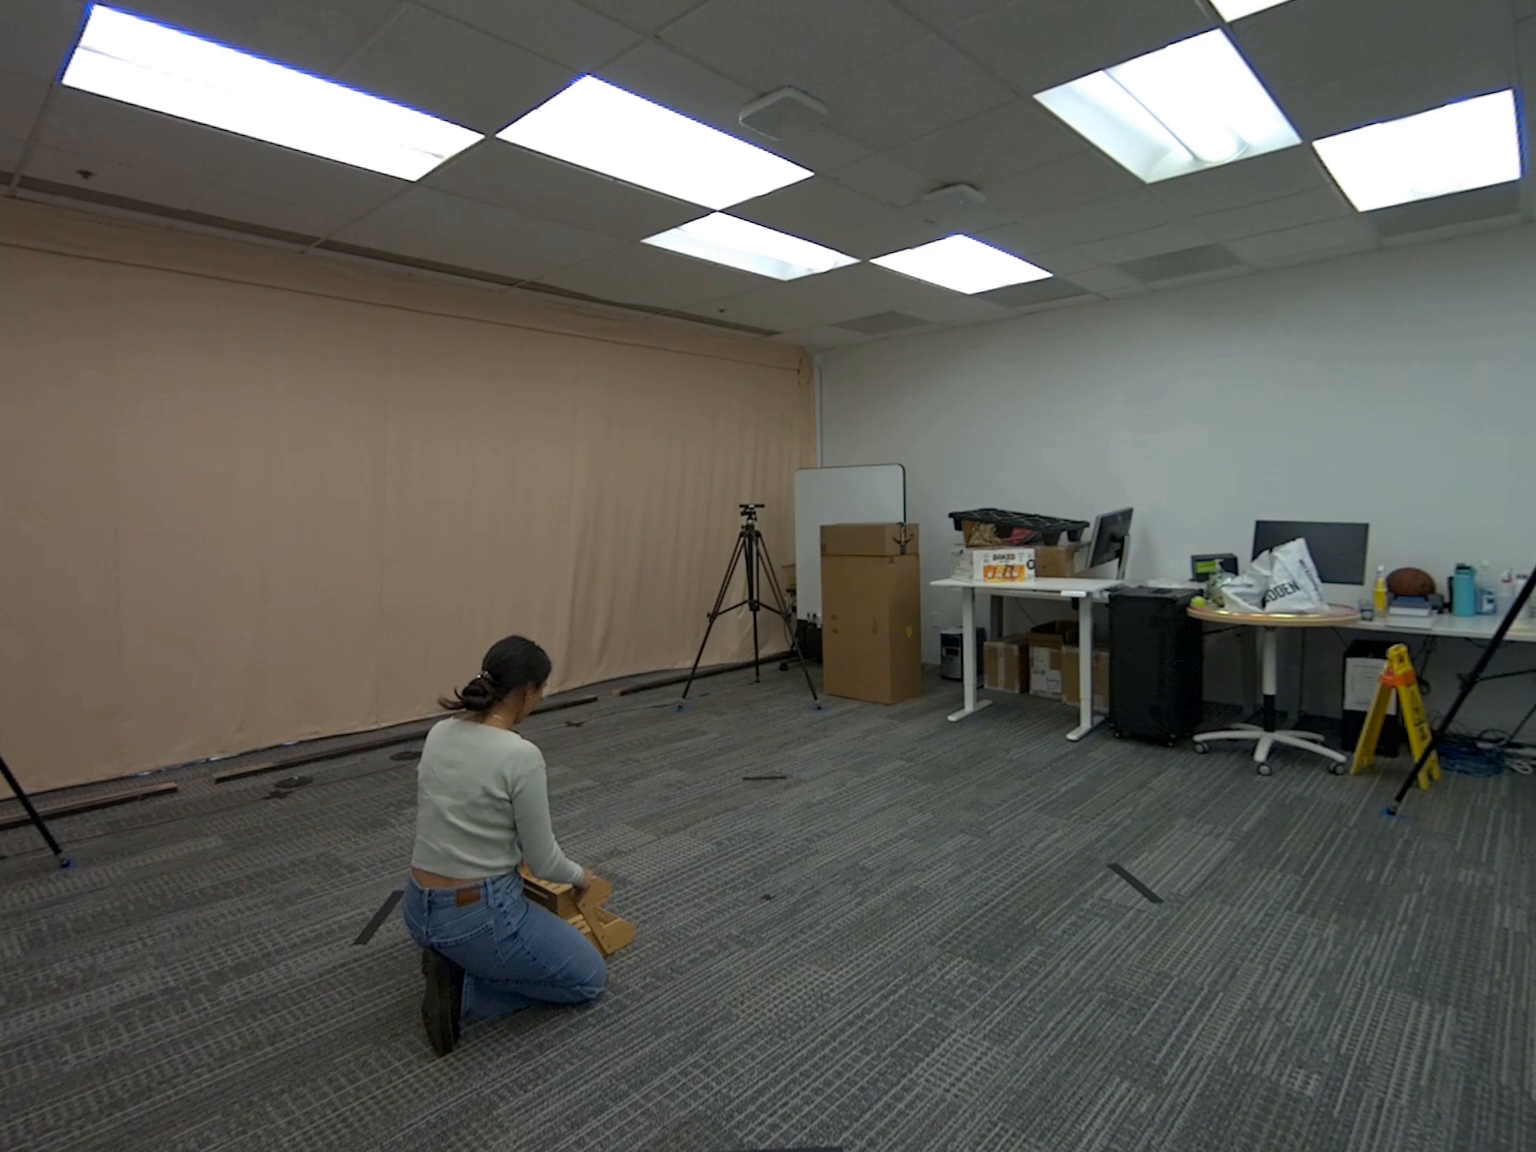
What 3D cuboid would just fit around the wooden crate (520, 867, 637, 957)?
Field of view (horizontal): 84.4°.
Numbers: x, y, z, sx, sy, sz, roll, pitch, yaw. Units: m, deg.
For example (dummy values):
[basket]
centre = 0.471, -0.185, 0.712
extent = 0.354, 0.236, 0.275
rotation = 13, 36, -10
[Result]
[wooden crate]
centre = -0.634, 1.042, 2.699
extent = 0.335, 0.272, 0.293
rotation = 2, 6, 41
